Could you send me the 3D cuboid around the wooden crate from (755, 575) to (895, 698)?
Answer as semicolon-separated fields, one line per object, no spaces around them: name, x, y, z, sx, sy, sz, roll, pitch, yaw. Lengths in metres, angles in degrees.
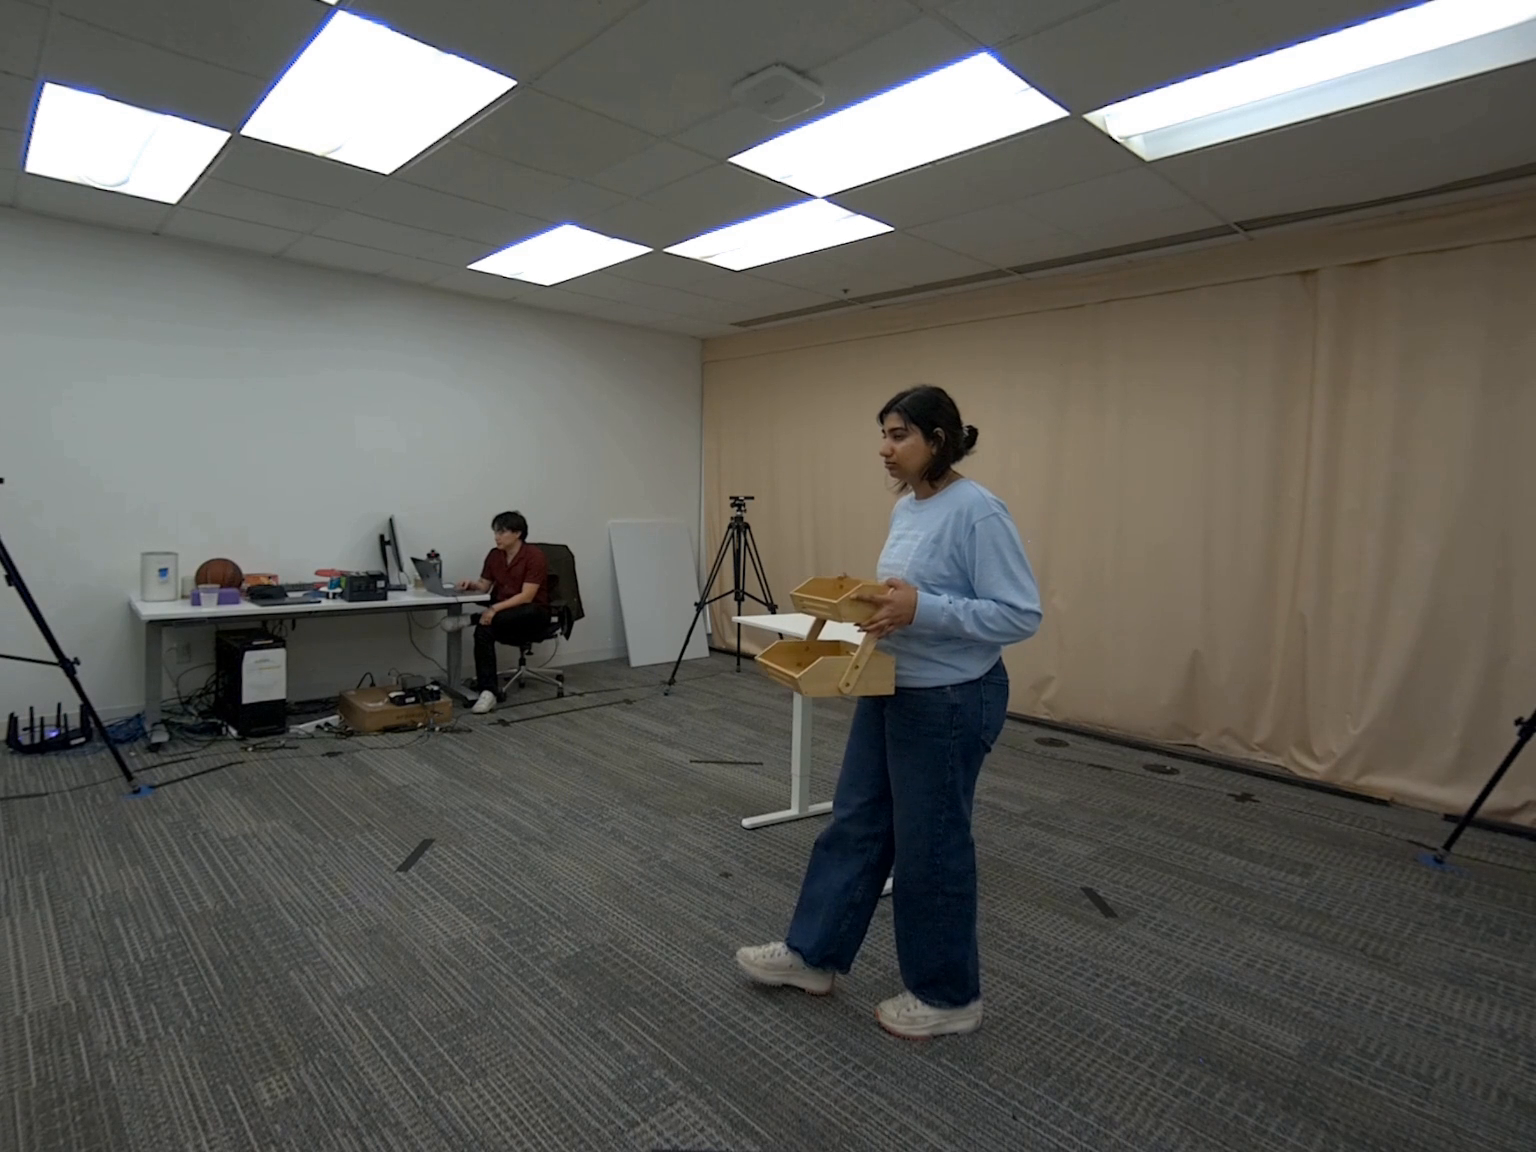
wooden crate;0.148;0.141;2.106;0.298;0.273;0.329;2;2;-17
